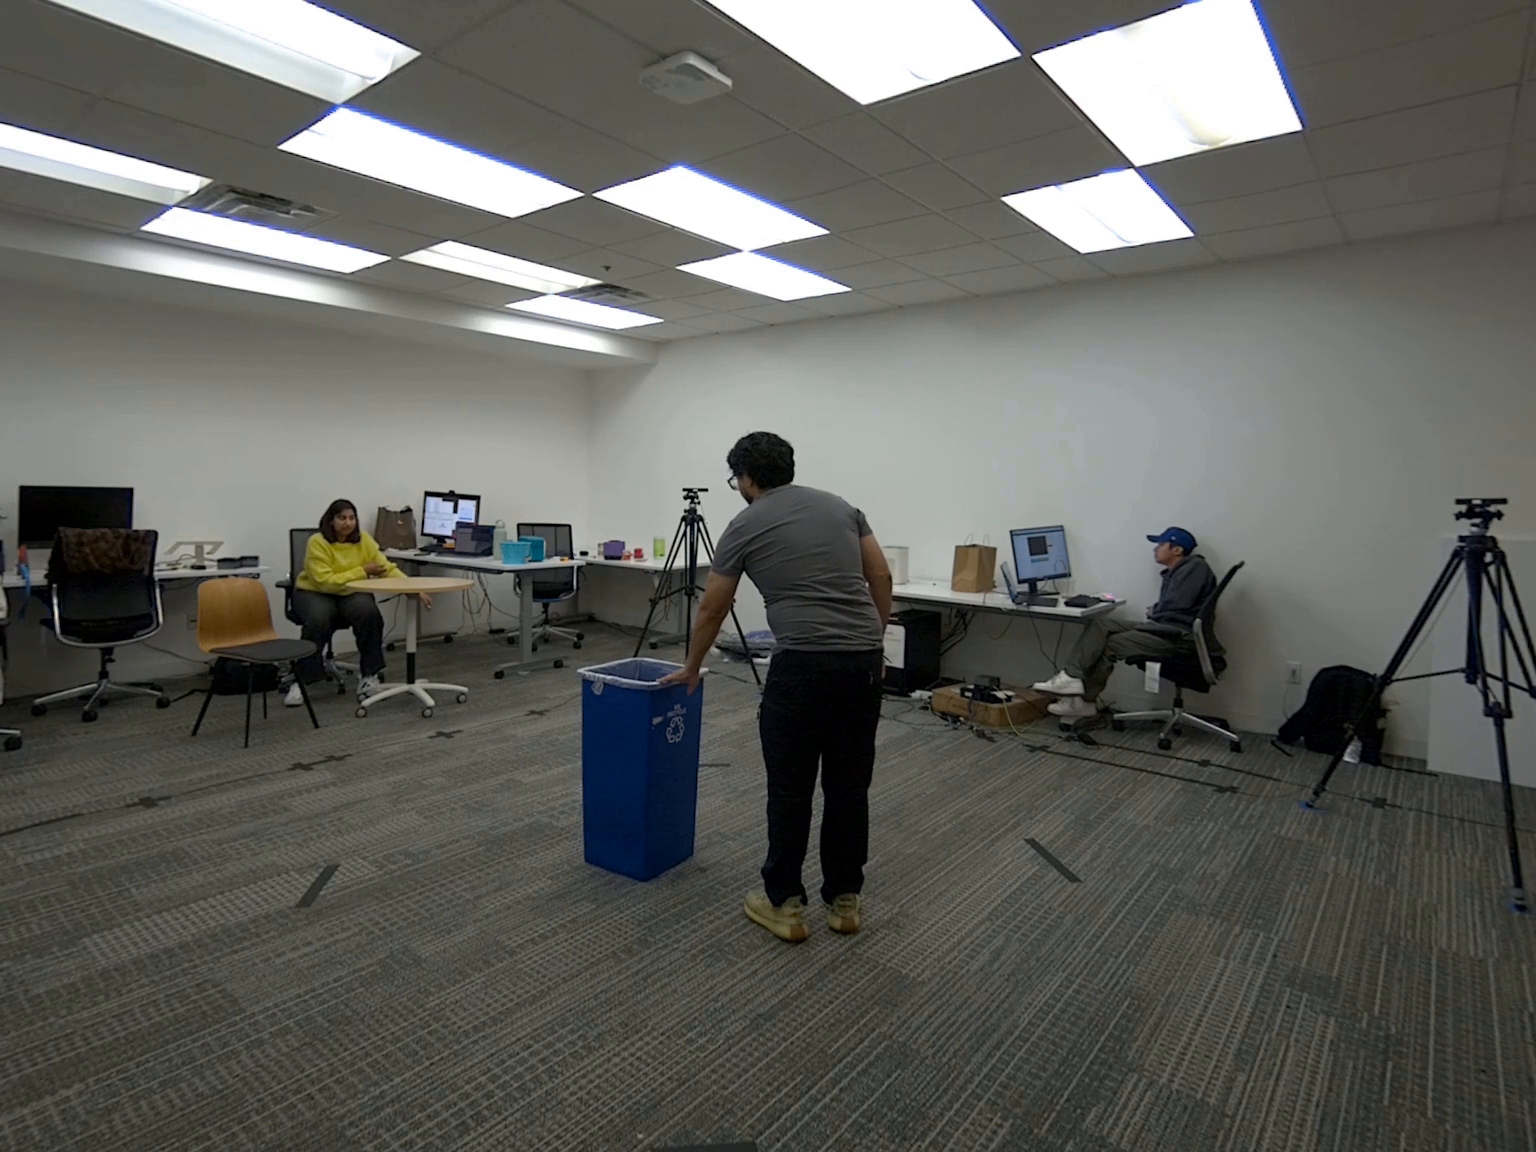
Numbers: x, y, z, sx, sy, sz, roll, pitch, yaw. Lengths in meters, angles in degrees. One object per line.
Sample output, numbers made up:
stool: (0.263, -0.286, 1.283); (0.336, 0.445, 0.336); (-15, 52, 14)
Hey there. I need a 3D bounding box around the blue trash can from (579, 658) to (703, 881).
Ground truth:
blue trash can: (-0.483, 0.699, 3.189); (0.390, 0.712, 0.364); (3, 4, 32)
